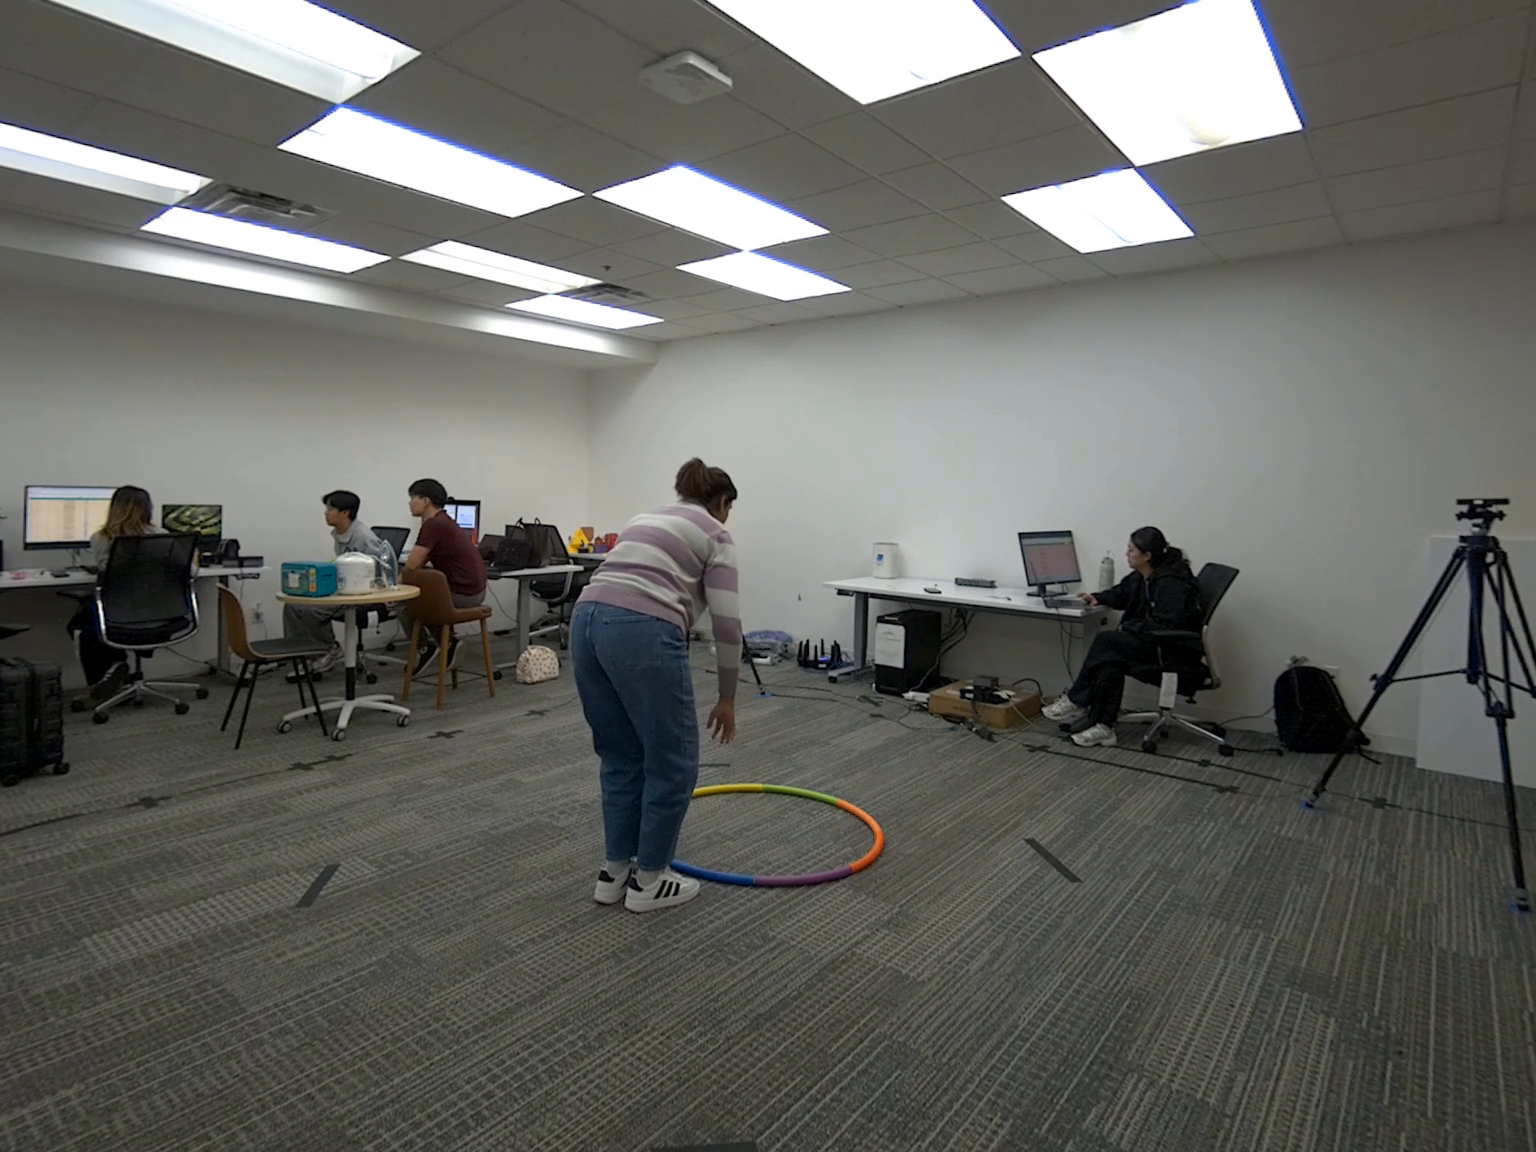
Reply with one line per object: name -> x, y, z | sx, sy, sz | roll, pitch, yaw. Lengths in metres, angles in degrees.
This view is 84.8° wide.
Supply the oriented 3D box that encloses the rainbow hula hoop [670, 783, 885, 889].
rainbow hula hoop -> -0.041, 1.009, 3.451 | 0.978, 0.035, 0.984 | 1, 6, -2
